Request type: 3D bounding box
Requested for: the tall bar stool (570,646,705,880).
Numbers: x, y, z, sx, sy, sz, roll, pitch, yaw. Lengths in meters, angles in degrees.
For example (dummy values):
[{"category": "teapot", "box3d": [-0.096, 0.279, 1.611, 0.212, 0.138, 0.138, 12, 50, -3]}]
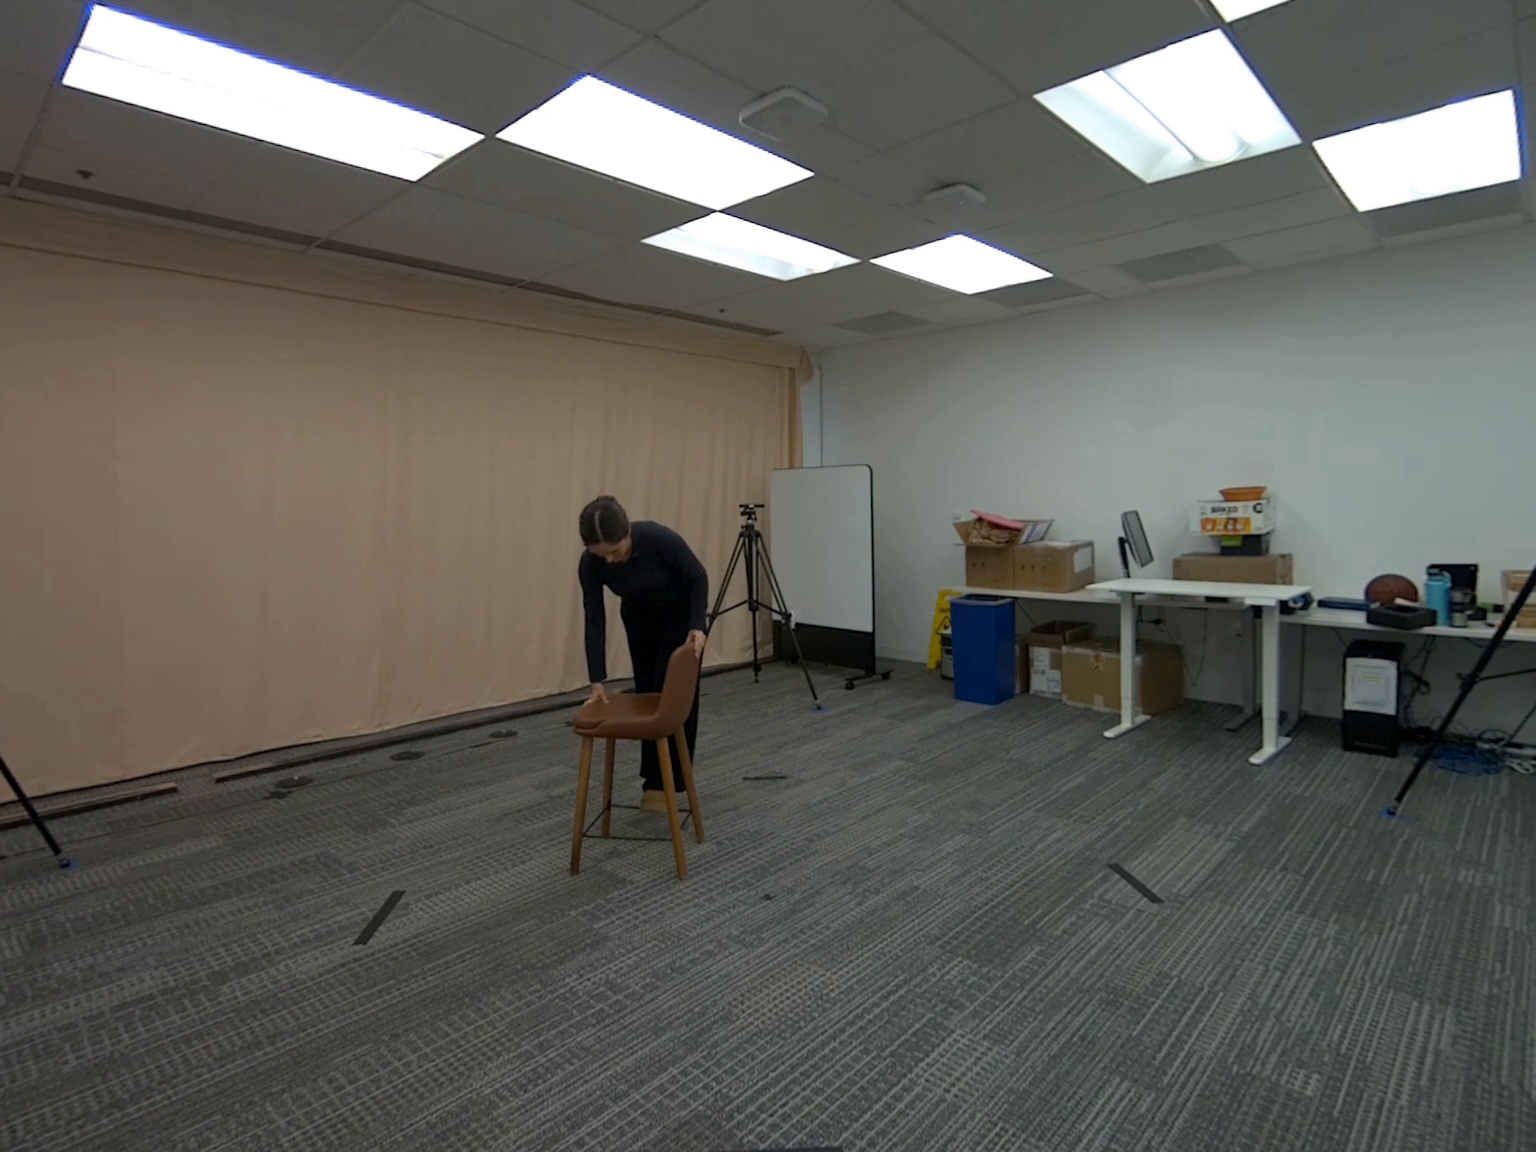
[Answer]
[{"category": "tall bar stool", "box3d": [-0.511, 0.685, 3.336, 0.473, 0.888, 0.452, 0, 3, 9]}]
